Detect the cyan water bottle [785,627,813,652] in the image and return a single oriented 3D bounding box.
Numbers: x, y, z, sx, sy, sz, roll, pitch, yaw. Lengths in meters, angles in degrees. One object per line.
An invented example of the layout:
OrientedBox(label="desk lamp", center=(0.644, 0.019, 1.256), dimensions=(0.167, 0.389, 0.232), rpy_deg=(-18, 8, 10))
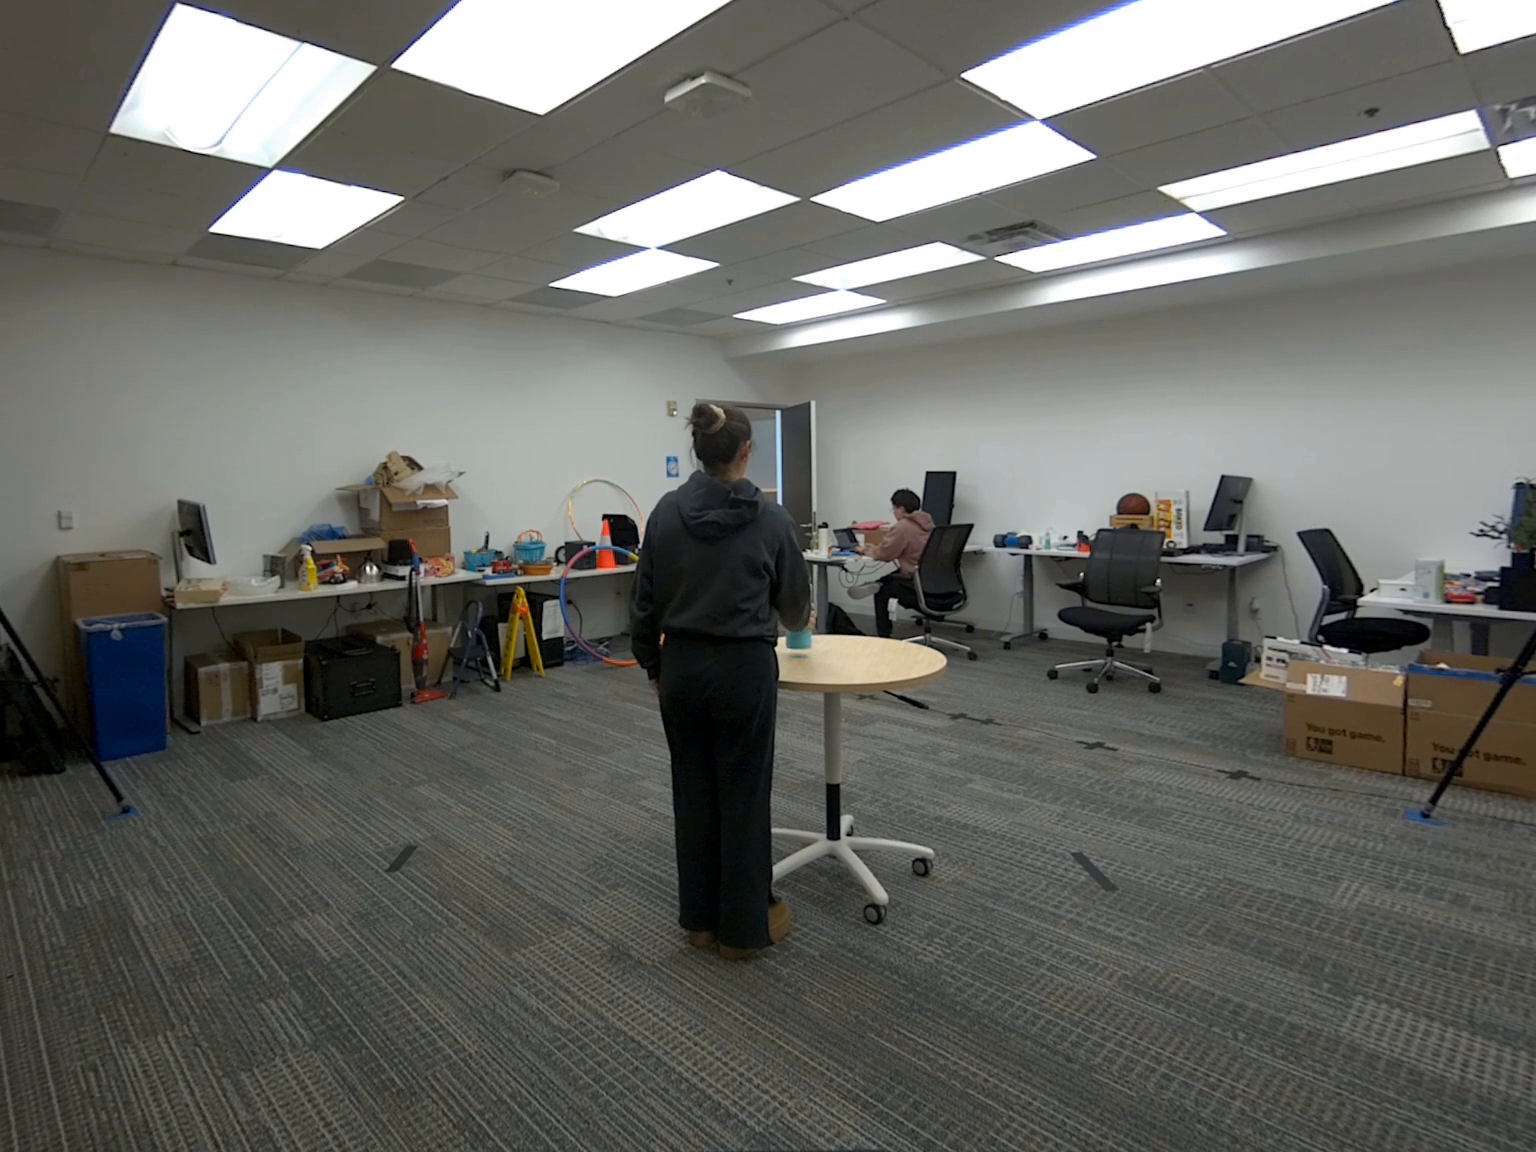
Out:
OrientedBox(label="cyan water bottle", center=(0.116, 0.096, 2.942), dimensions=(0.092, 0.283, 0.092), rpy_deg=(-2, 0, -2))
